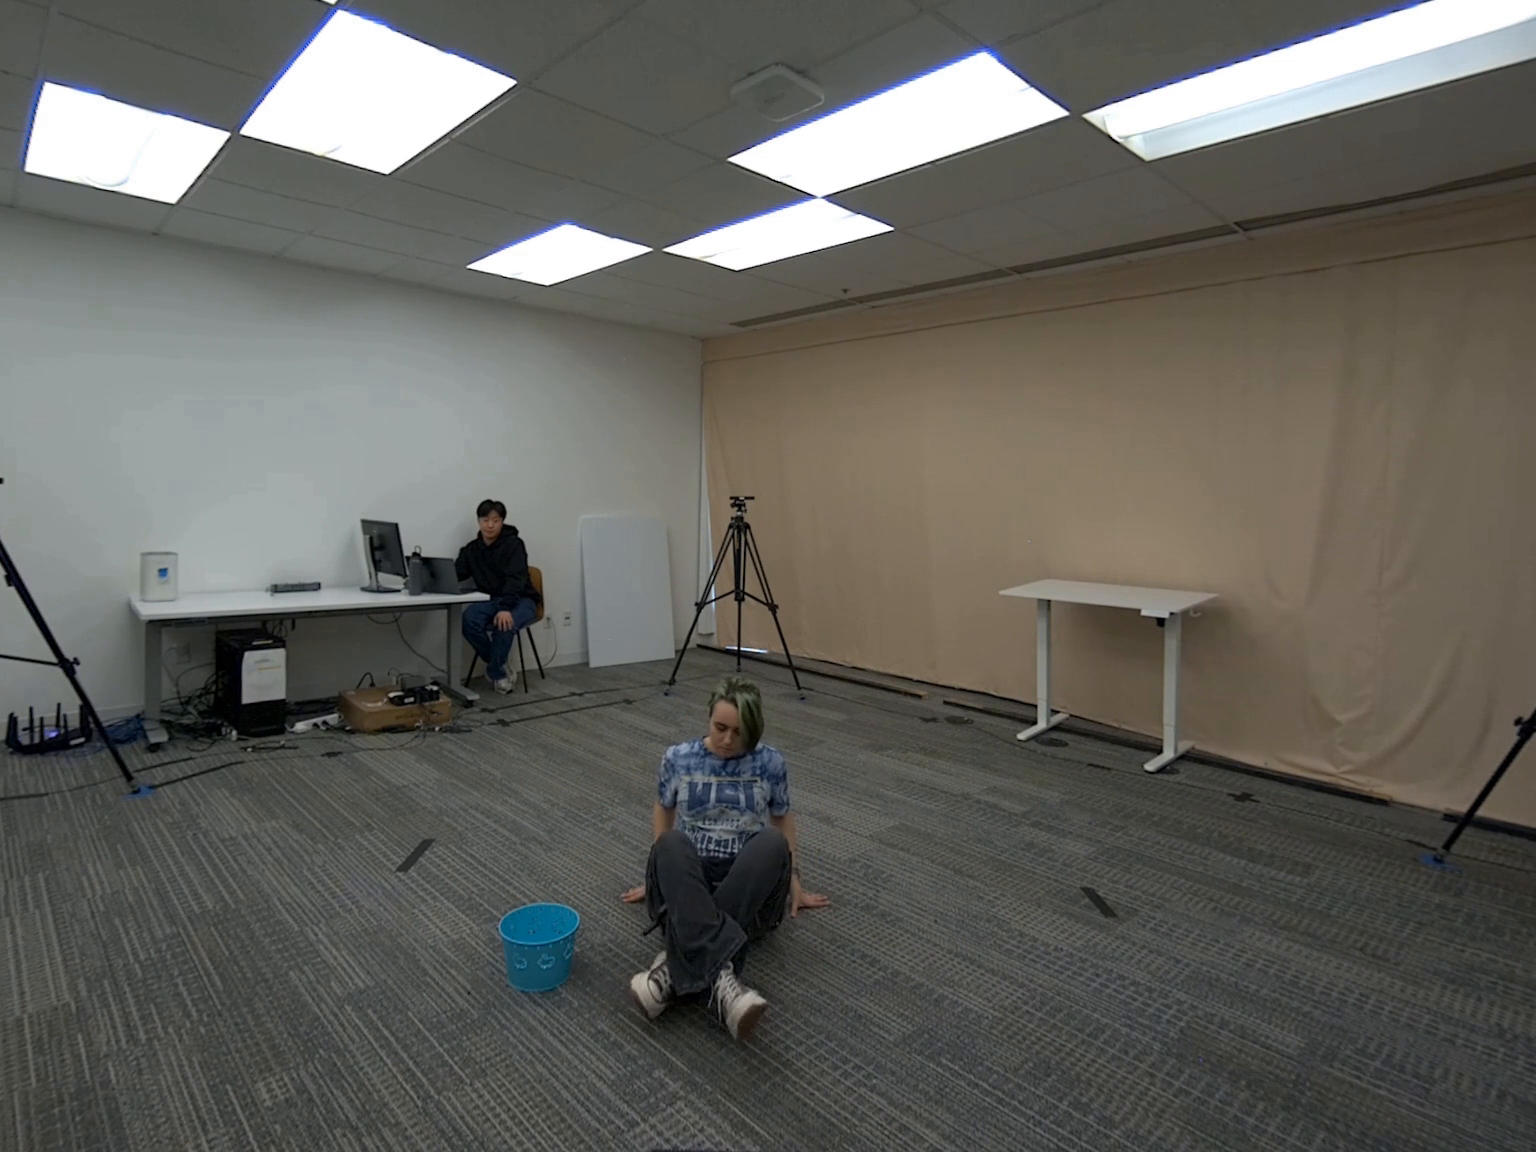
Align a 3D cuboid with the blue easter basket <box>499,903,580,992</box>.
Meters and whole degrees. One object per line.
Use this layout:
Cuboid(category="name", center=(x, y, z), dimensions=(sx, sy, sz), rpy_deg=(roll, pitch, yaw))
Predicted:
Cuboid(category="blue easter basket", center=(-0.659, 1.070, 2.443), dimensions=(0.243, 0.155, 0.244), rpy_deg=(1, 5, -1))
